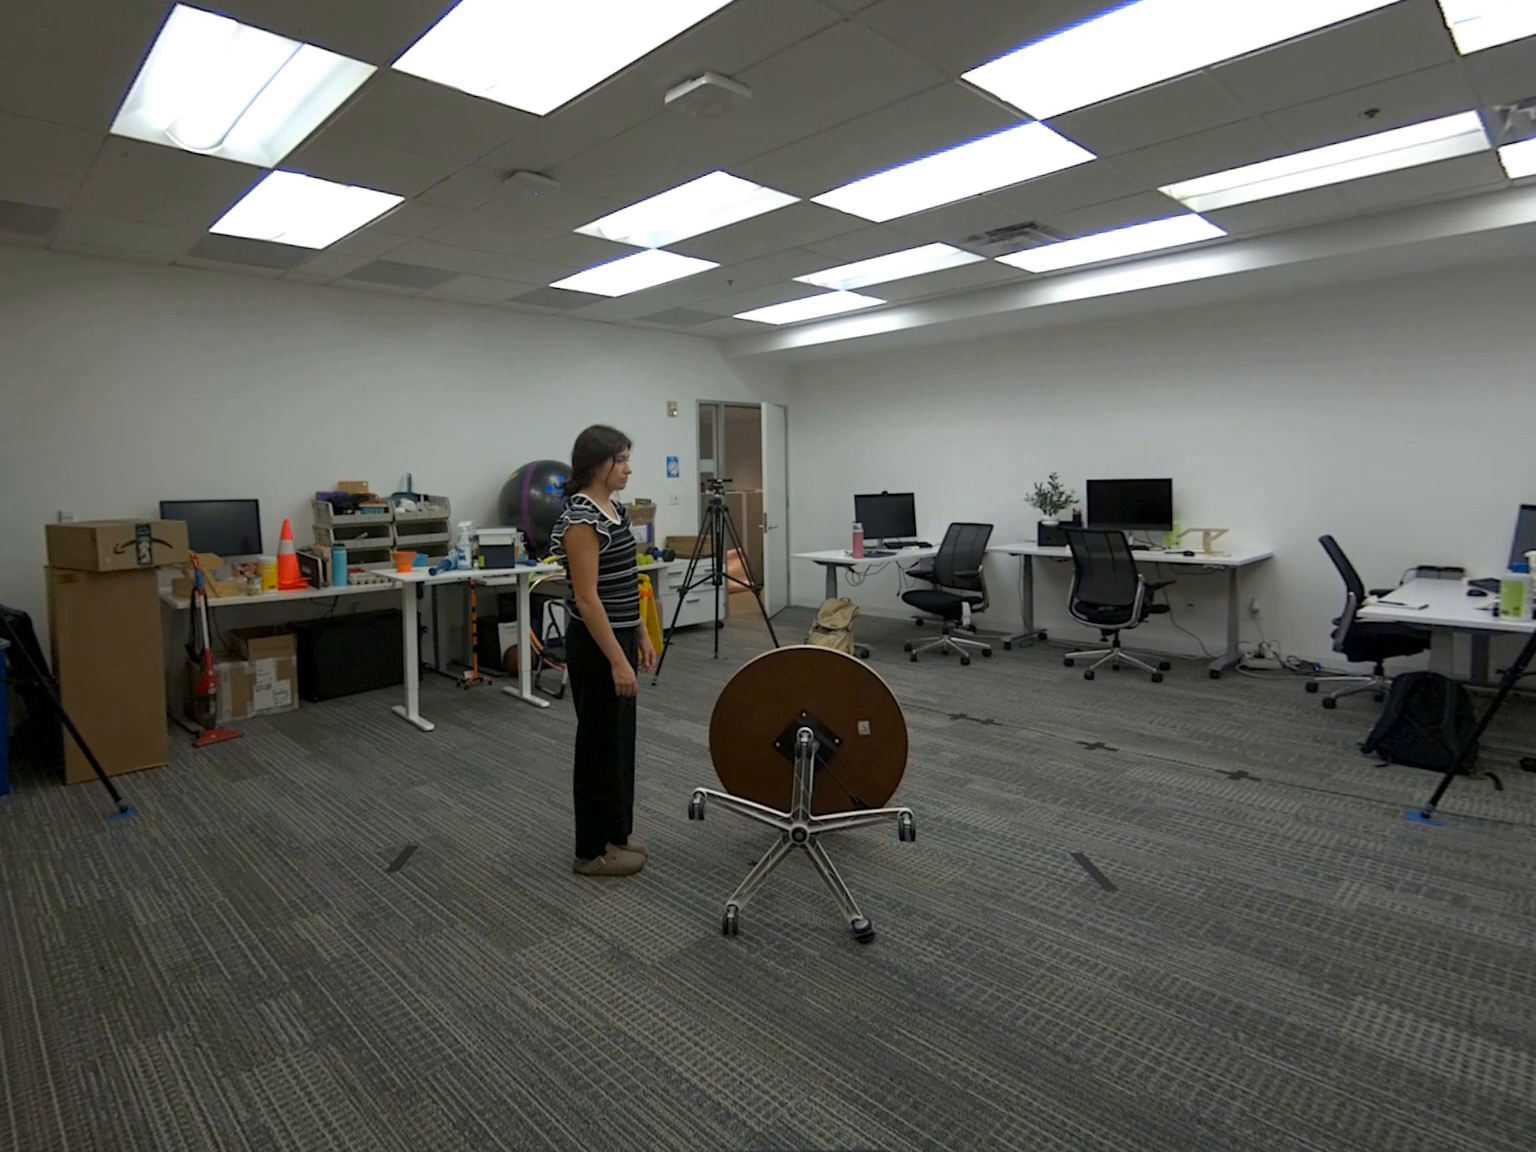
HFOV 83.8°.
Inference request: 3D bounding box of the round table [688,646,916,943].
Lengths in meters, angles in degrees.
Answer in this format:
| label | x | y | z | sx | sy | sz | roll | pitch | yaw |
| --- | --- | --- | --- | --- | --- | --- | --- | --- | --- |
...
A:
| label | x | y | z | sx | sy | sz | roll | pitch | yaw |
| --- | --- | --- | --- | --- | --- | --- | --- | --- | --- |
| round table | 0.128 | 0.733 | 2.915 | 0.769 | 0.756 | 0.797 | 0 | 11 | 6 |
